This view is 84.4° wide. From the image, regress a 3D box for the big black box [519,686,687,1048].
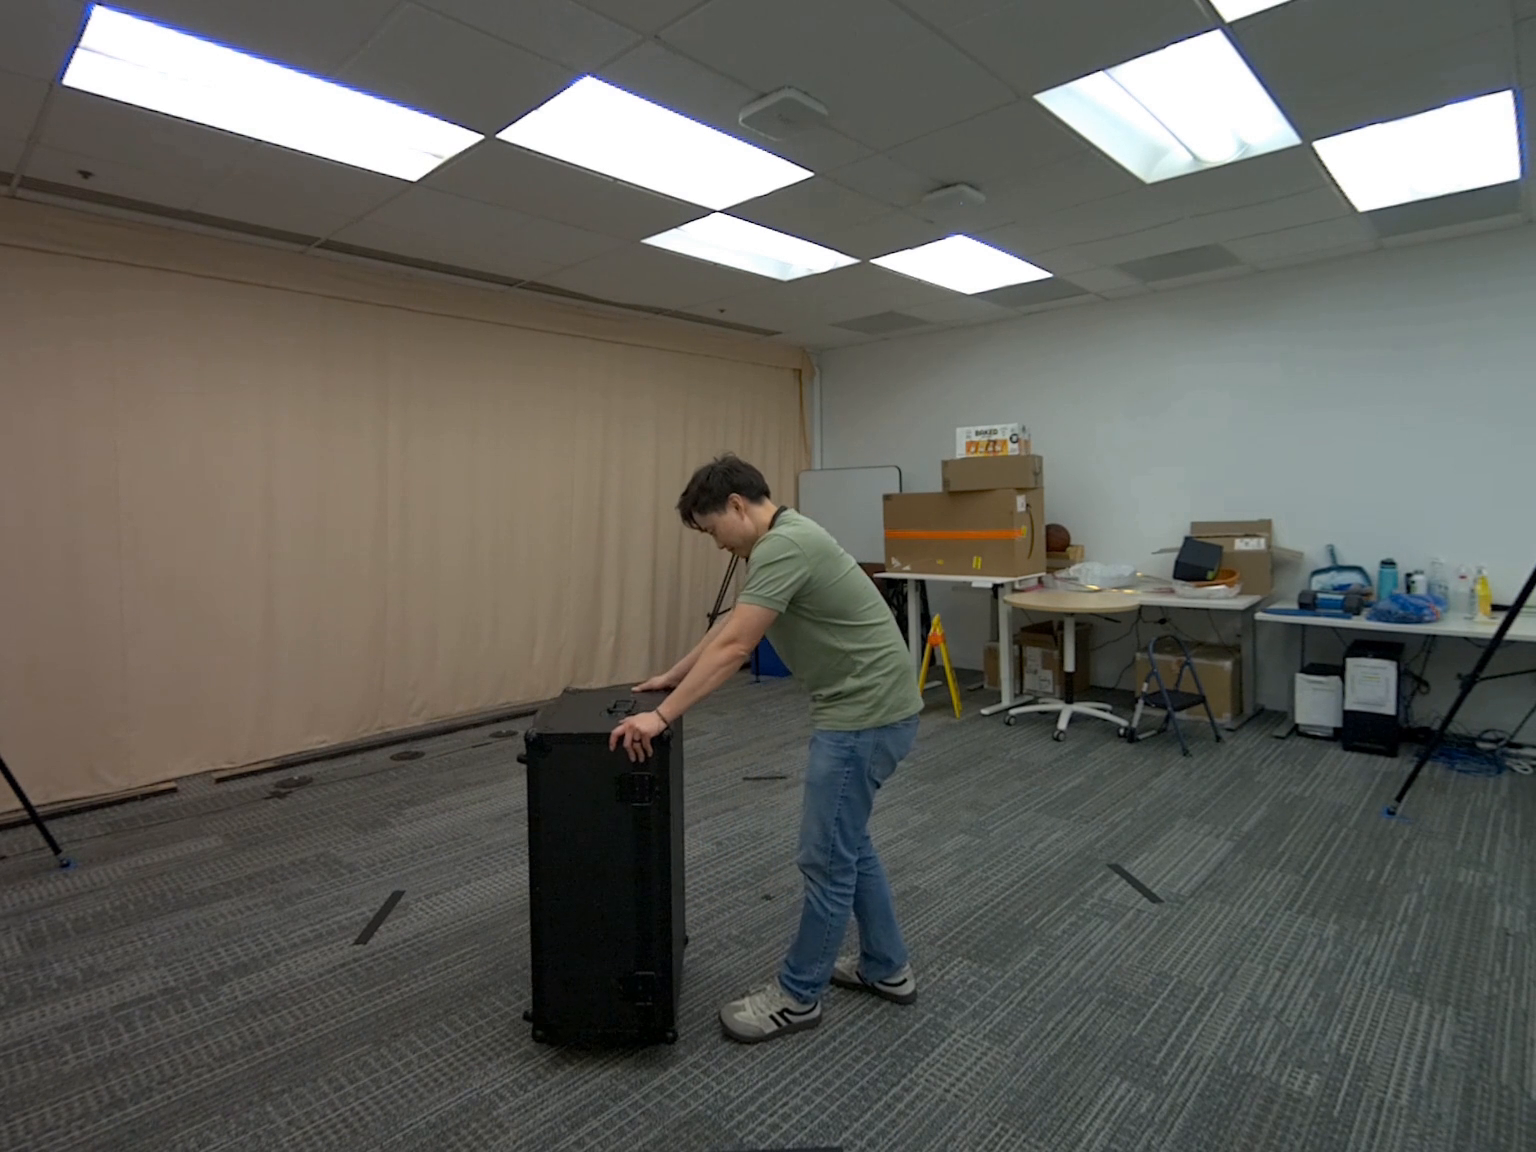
[{"bbox_3d":[-0.432,0.785,2.294,0.397,0.860,0.522,-1,3,0],"label":"big black box"}]
